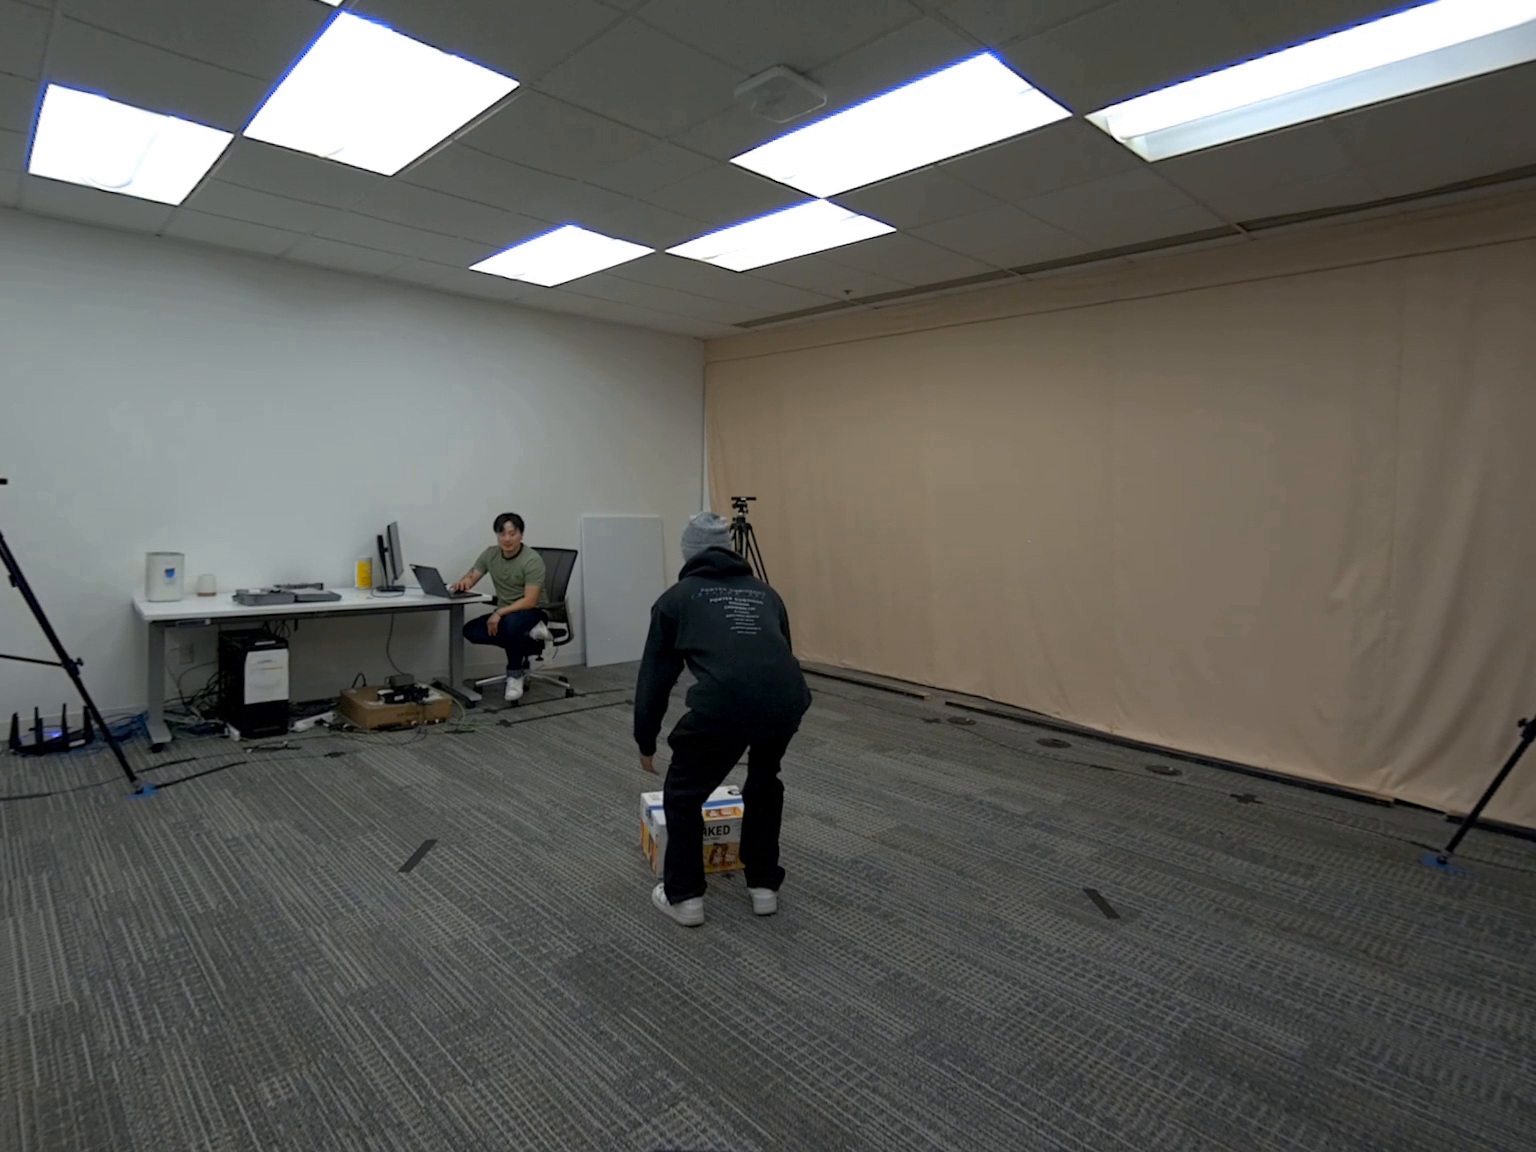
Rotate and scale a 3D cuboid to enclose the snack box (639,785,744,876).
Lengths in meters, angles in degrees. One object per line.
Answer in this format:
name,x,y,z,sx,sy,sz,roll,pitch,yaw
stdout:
snack box,-0.275,0.988,3.278,0.399,0.205,0.346,0,5,-19
